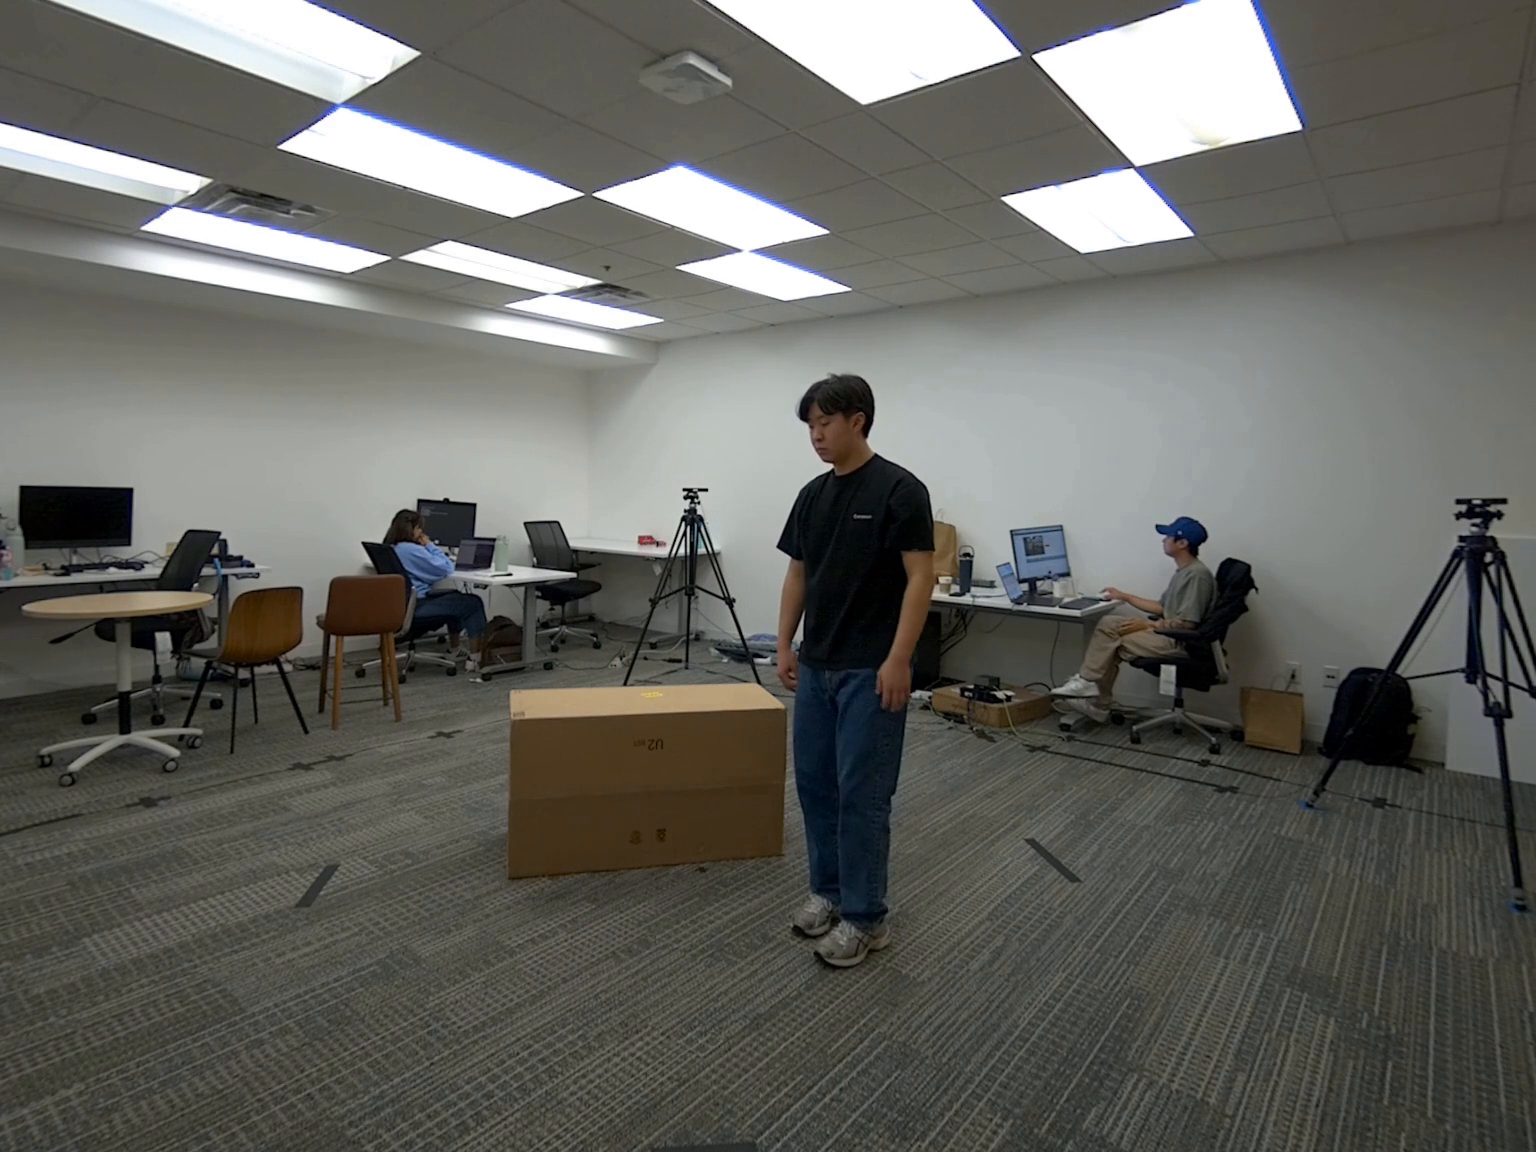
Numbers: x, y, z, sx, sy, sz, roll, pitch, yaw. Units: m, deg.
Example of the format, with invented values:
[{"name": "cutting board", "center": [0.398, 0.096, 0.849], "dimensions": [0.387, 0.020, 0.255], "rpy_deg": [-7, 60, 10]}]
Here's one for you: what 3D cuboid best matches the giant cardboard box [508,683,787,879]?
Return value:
[{"name": "giant cardboard box", "center": [-0.494, 0.757, 3.306], "dimensions": [1.011, 0.583, 0.455], "rpy_deg": [0, 3, -15]}]
